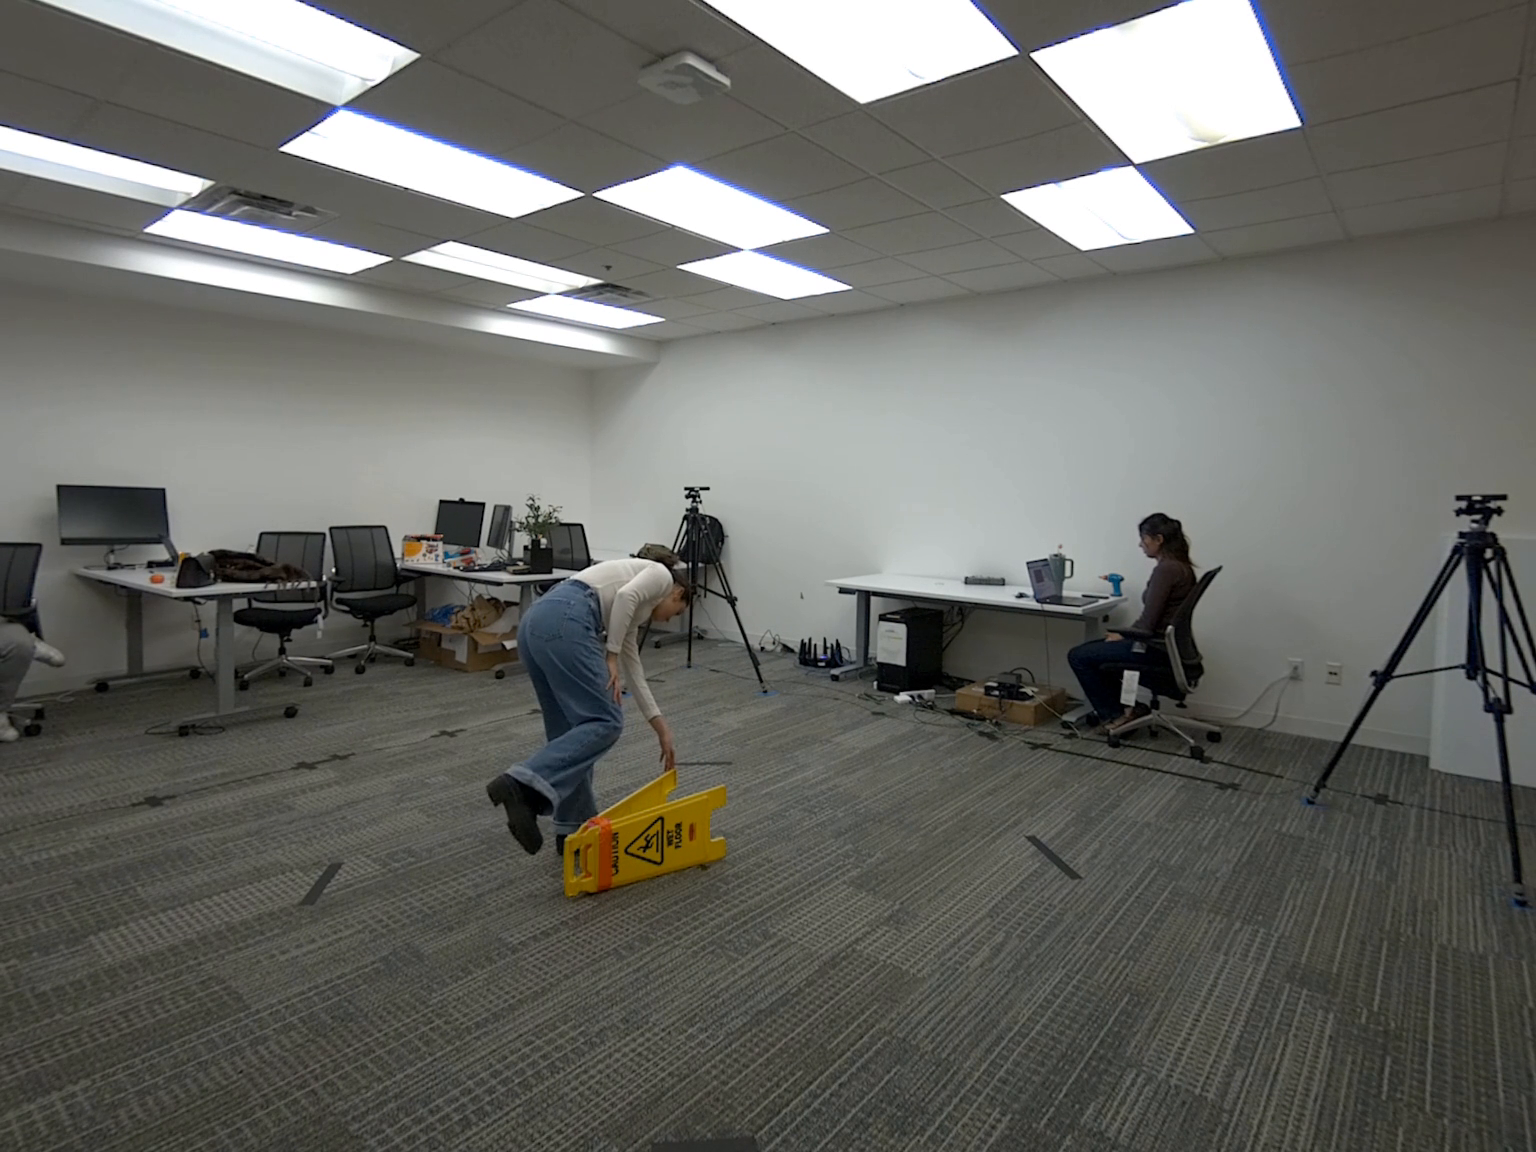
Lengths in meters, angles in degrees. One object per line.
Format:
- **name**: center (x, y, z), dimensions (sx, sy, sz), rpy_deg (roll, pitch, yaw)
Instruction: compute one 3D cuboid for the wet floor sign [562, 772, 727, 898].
- **wet floor sign**: center (-0.473, 0.939, 3.053), dimensions (0.299, 0.281, 0.628), rpy_deg (3, 7, 41)
